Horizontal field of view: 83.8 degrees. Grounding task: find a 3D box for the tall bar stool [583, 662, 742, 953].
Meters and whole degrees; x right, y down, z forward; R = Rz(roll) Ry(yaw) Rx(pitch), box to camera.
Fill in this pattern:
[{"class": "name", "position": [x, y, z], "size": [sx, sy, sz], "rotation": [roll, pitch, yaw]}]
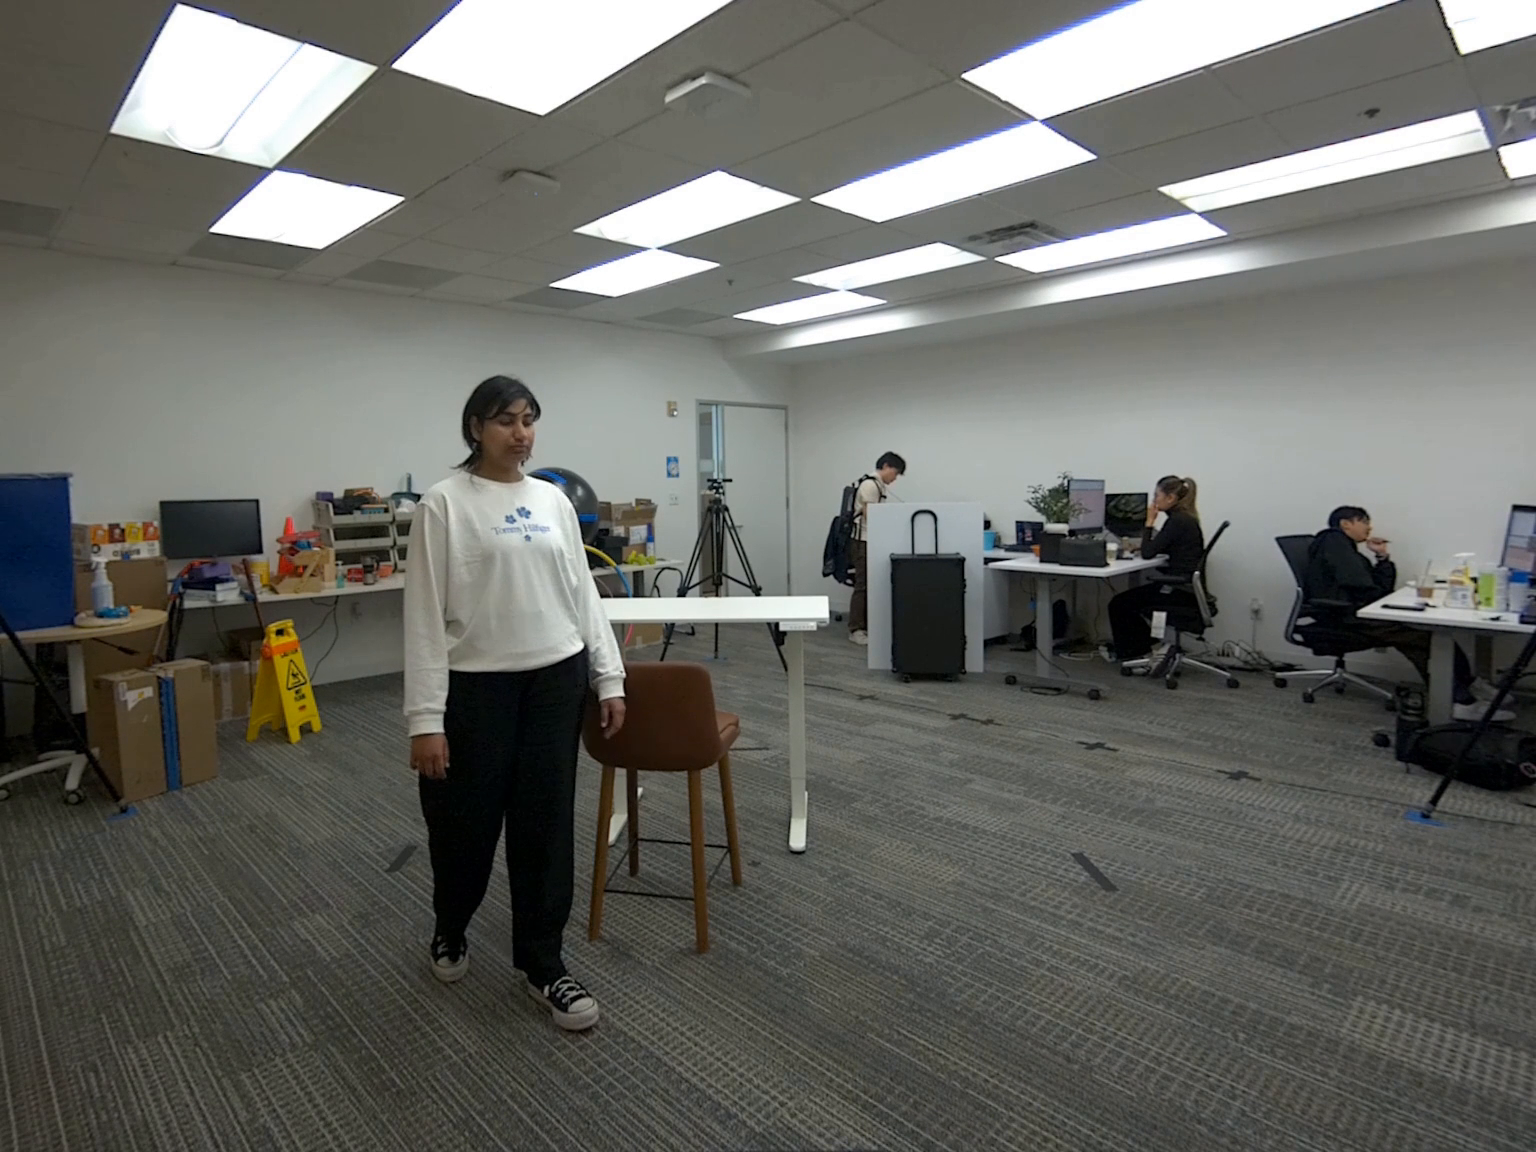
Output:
[{"class": "tall bar stool", "position": [-0.331, 0.657, 2.751], "size": [0.463, 0.885, 0.464], "rotation": [0, 6, 13]}]
